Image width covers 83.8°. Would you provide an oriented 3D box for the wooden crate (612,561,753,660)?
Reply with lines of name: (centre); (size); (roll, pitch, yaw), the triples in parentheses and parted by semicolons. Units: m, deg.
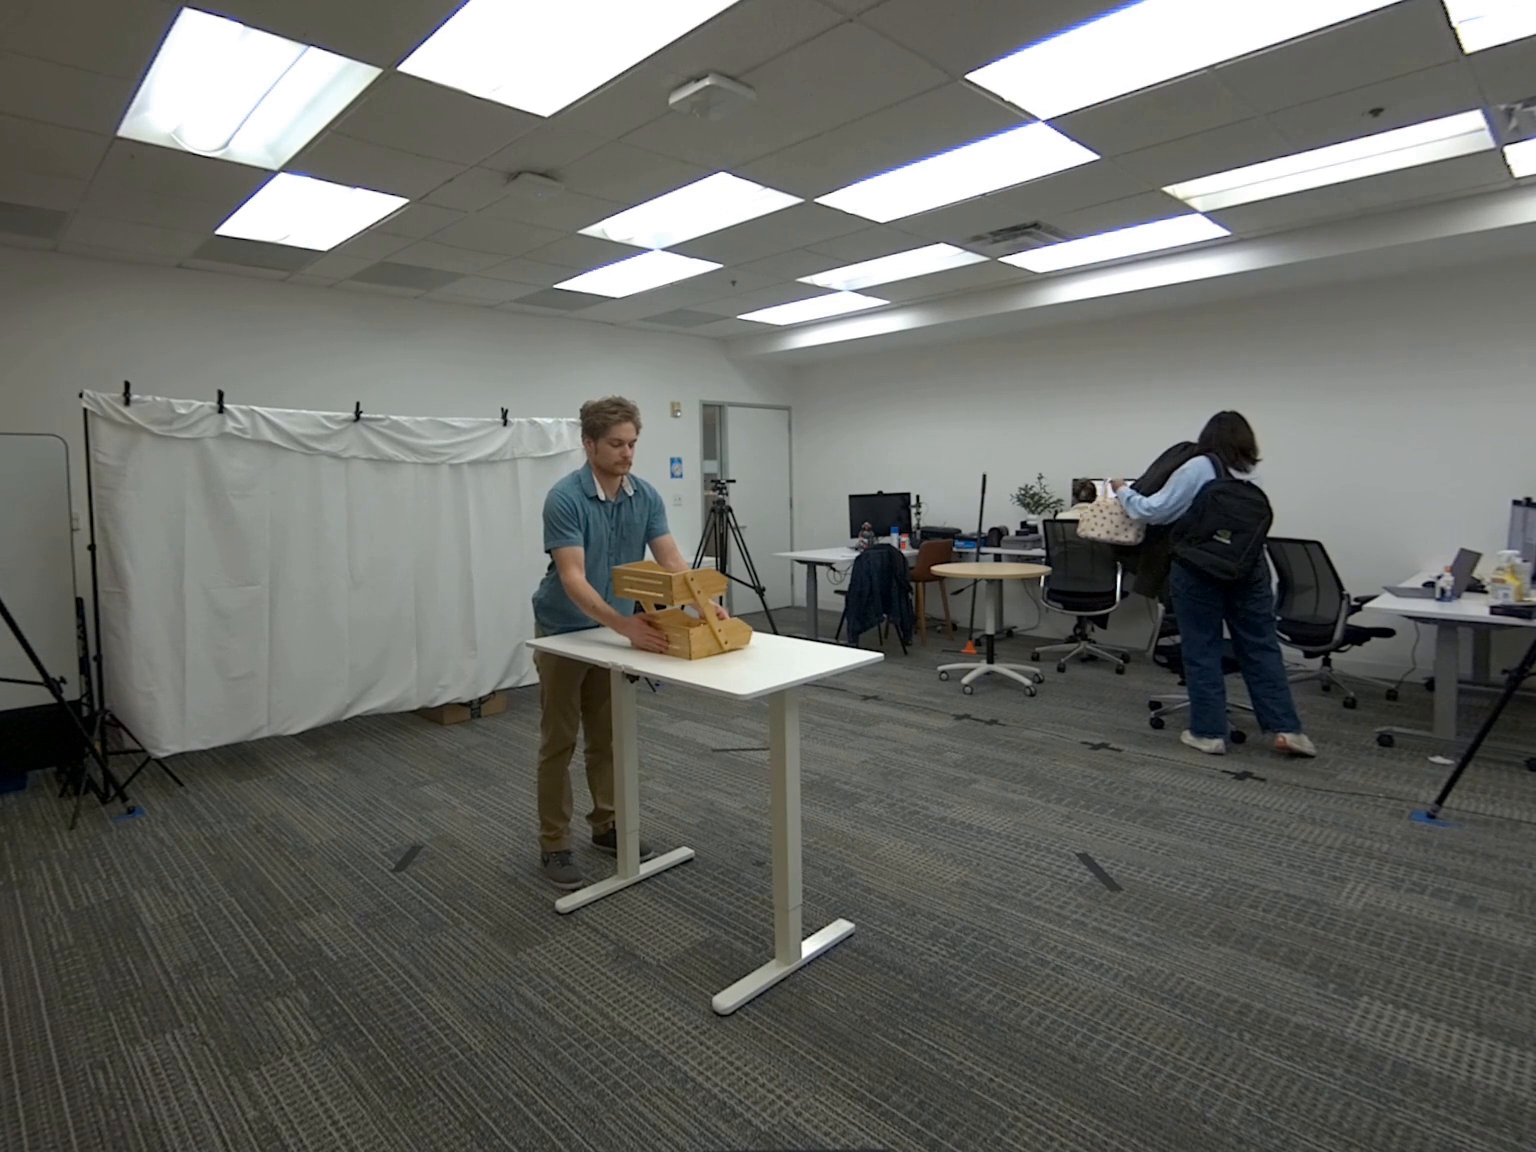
wooden crate: (-0.258, 0.087, 2.629); (0.295, 0.271, 0.334); (-11, 10, -42)
